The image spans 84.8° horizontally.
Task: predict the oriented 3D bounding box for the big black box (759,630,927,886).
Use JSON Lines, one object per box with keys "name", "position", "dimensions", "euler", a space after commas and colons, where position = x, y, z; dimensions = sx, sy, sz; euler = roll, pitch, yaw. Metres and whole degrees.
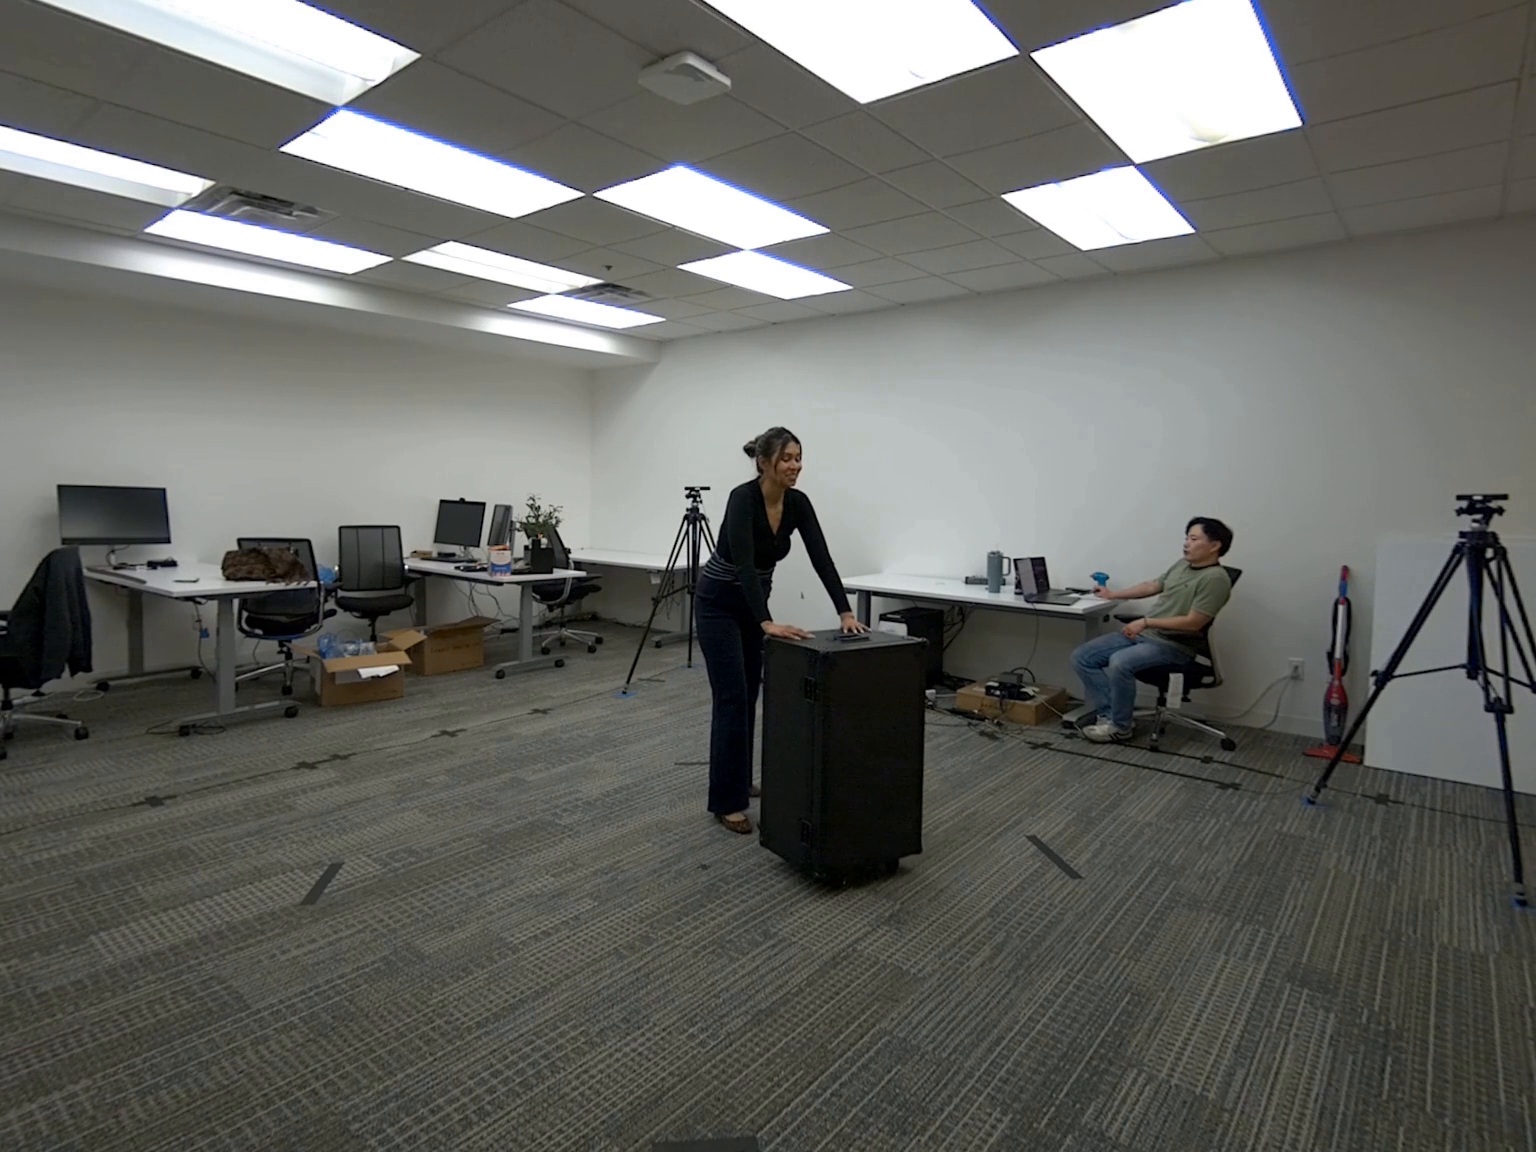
{"name": "big black box", "position": [0.251, 0.647, 3.120], "dimensions": [0.507, 0.859, 0.409], "euler": [-1, 4, -33]}
